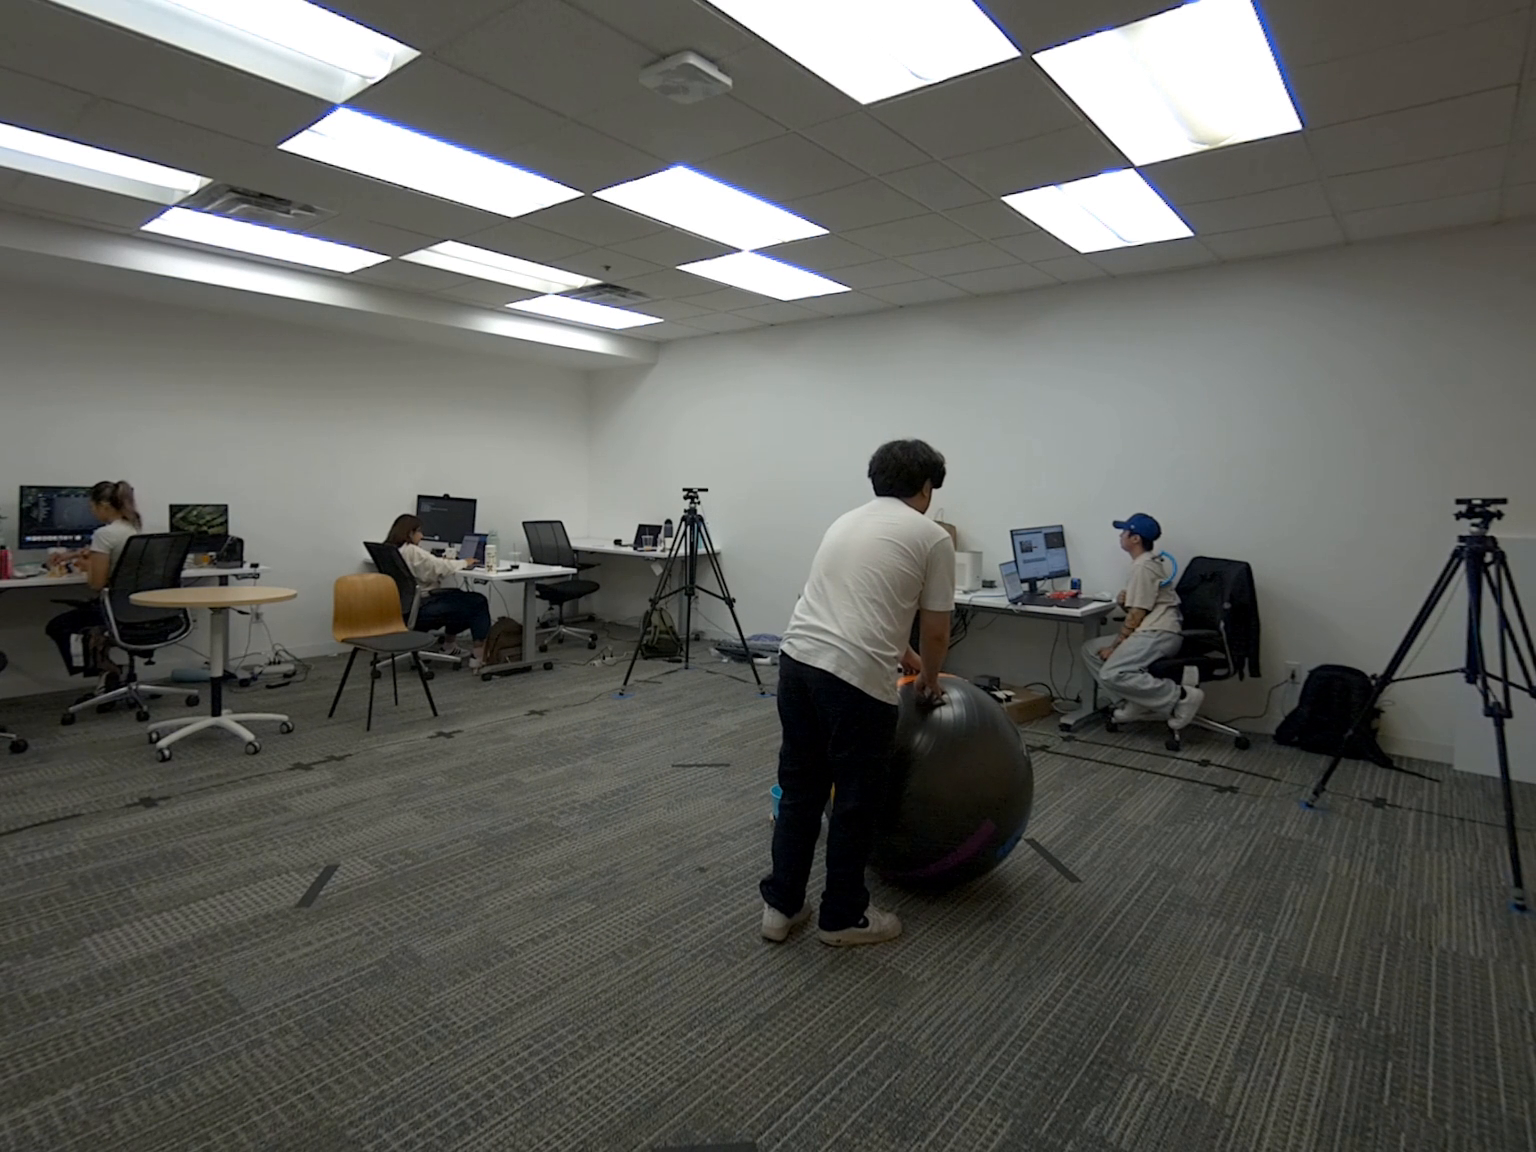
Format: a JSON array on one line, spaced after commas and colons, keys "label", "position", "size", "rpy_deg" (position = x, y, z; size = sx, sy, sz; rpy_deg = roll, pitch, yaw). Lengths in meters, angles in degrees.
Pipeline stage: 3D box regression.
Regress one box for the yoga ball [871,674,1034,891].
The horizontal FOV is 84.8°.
[{"label": "yoga ball", "position": [0.576, 0.736, 3.095], "size": [0.757, 0.755, 0.762], "rpy_deg": [1, 4, -2]}]
